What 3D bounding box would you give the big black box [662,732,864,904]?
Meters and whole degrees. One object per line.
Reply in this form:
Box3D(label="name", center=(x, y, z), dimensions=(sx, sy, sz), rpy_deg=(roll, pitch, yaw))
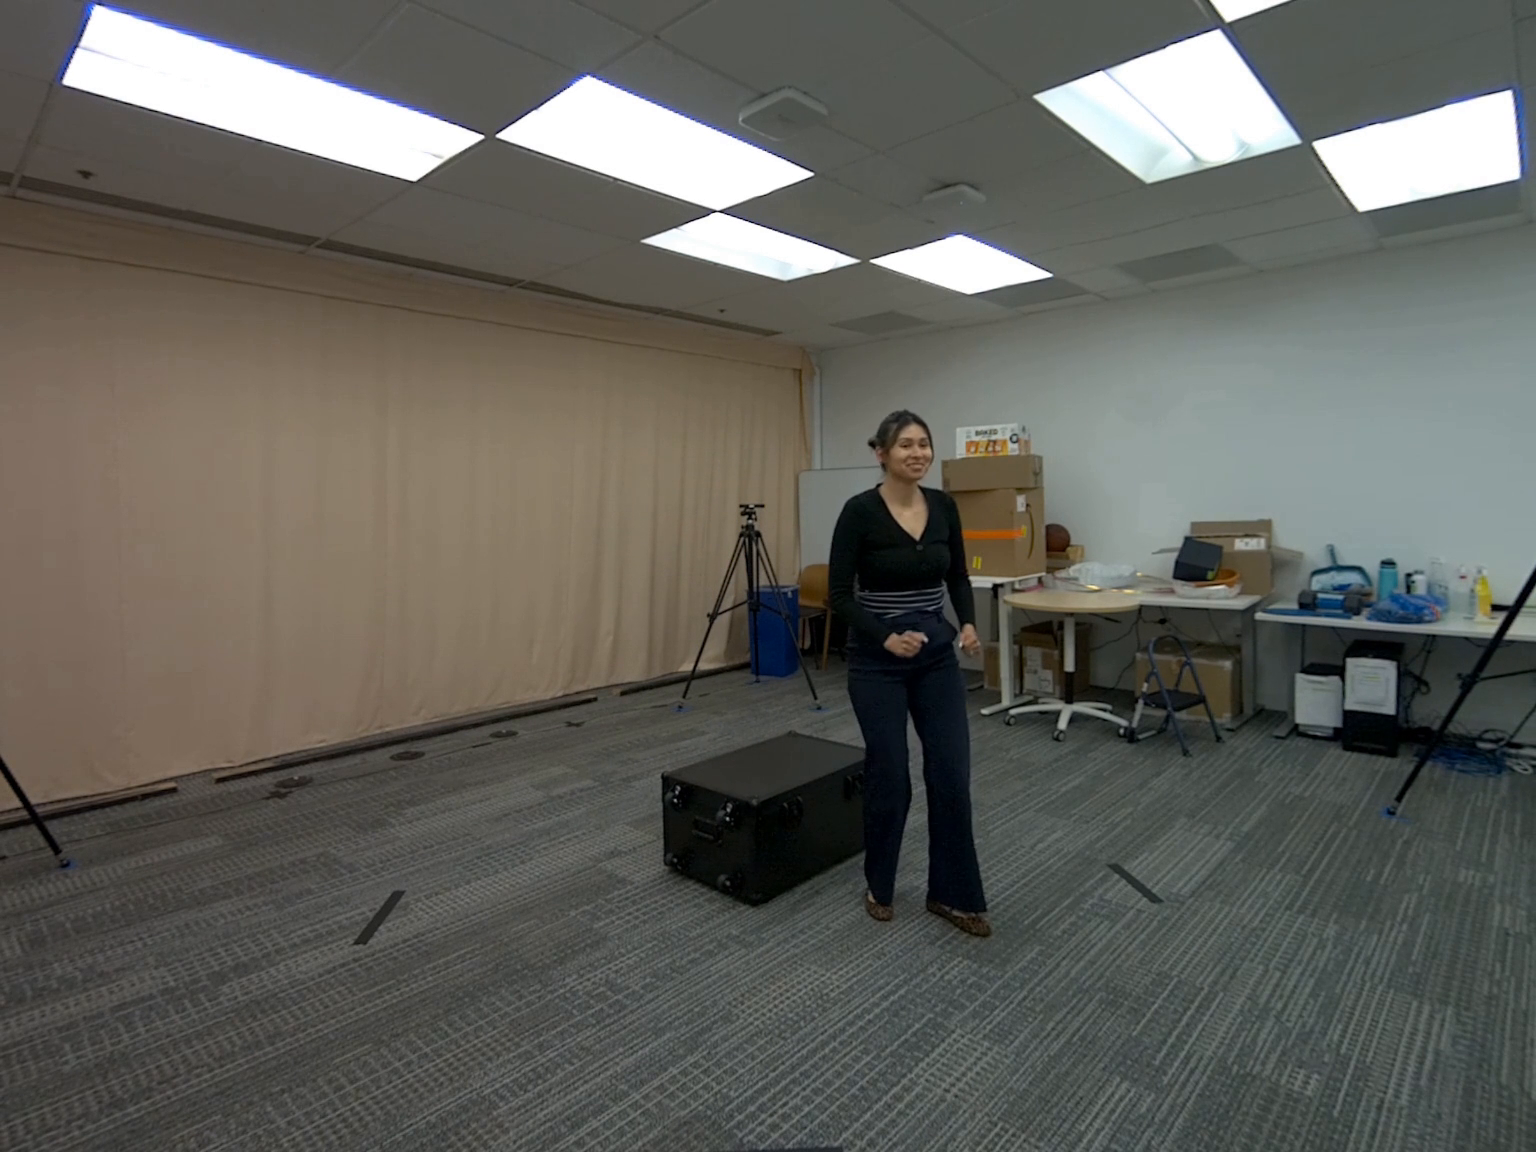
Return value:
Box3D(label="big black box", center=(0.056, 0.916, 3.335), dimensions=(0.539, 0.395, 0.836), rpy_deg=(4, 7, 43))
